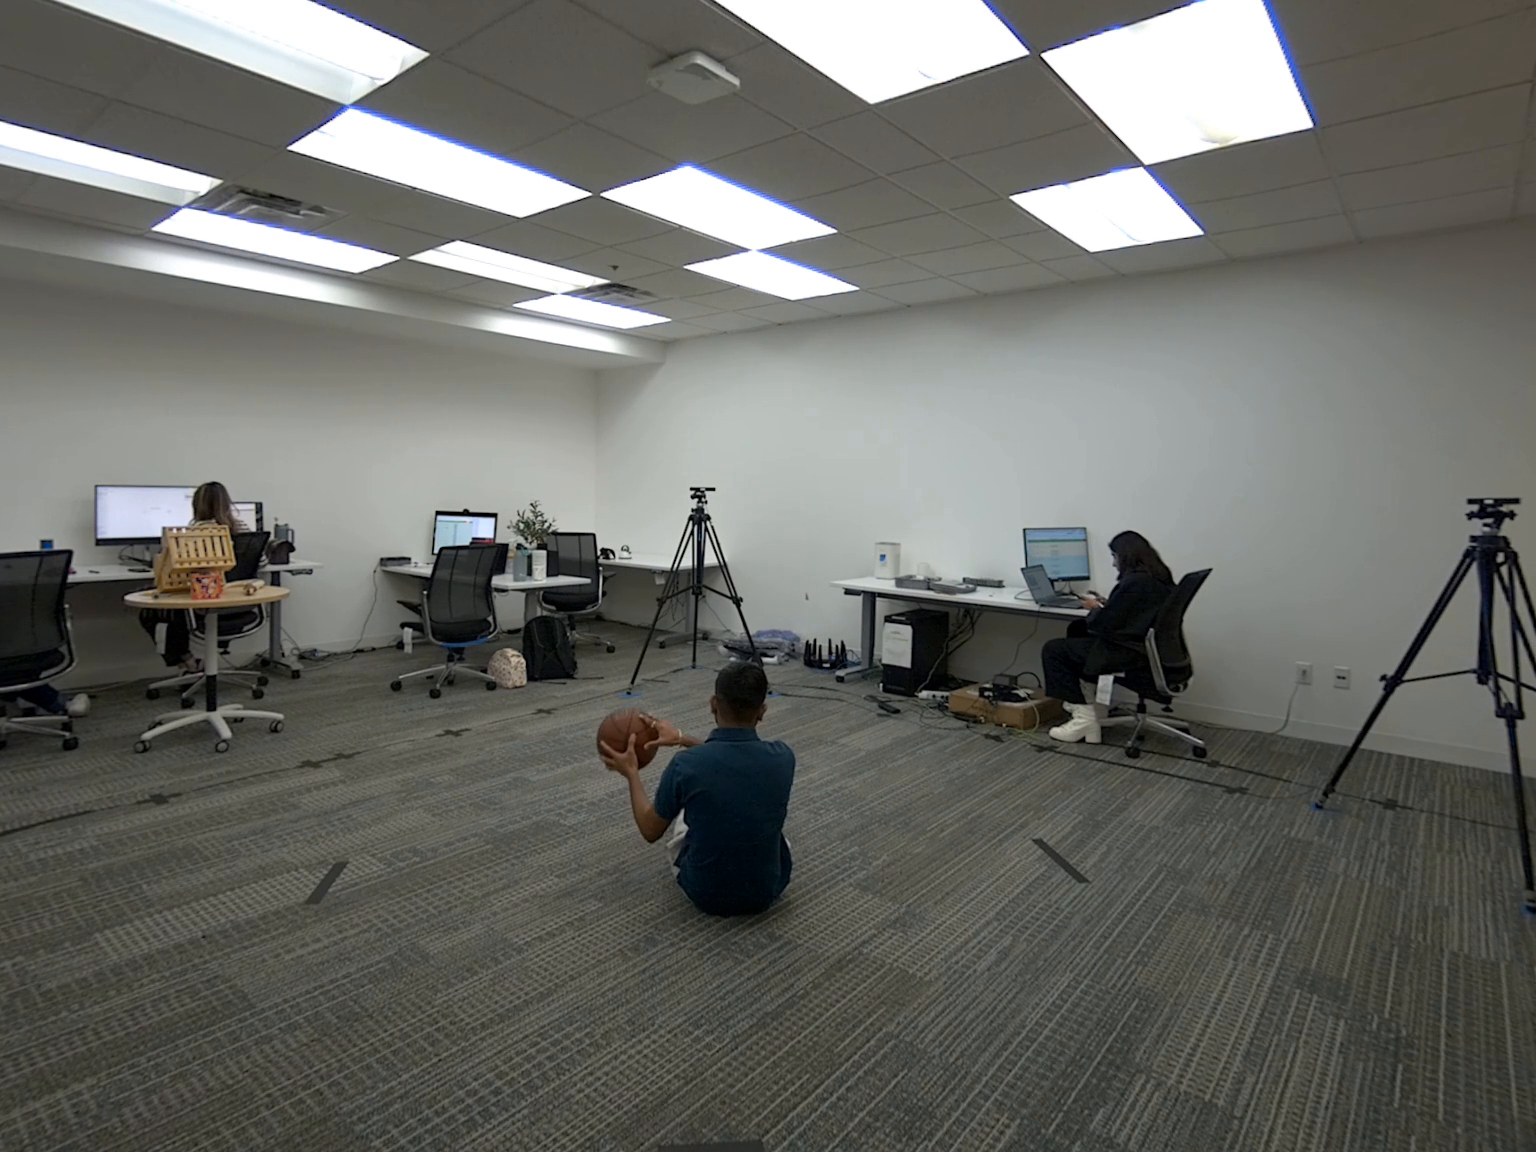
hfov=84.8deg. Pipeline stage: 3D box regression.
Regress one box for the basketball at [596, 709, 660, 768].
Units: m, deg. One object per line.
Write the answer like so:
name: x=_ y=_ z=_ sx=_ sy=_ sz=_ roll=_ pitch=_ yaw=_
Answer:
basketball: x=-0.530 y=0.631 z=3.220 sx=0.235 sy=0.235 sz=0.237 roll=1 pitch=4 yaw=-2
